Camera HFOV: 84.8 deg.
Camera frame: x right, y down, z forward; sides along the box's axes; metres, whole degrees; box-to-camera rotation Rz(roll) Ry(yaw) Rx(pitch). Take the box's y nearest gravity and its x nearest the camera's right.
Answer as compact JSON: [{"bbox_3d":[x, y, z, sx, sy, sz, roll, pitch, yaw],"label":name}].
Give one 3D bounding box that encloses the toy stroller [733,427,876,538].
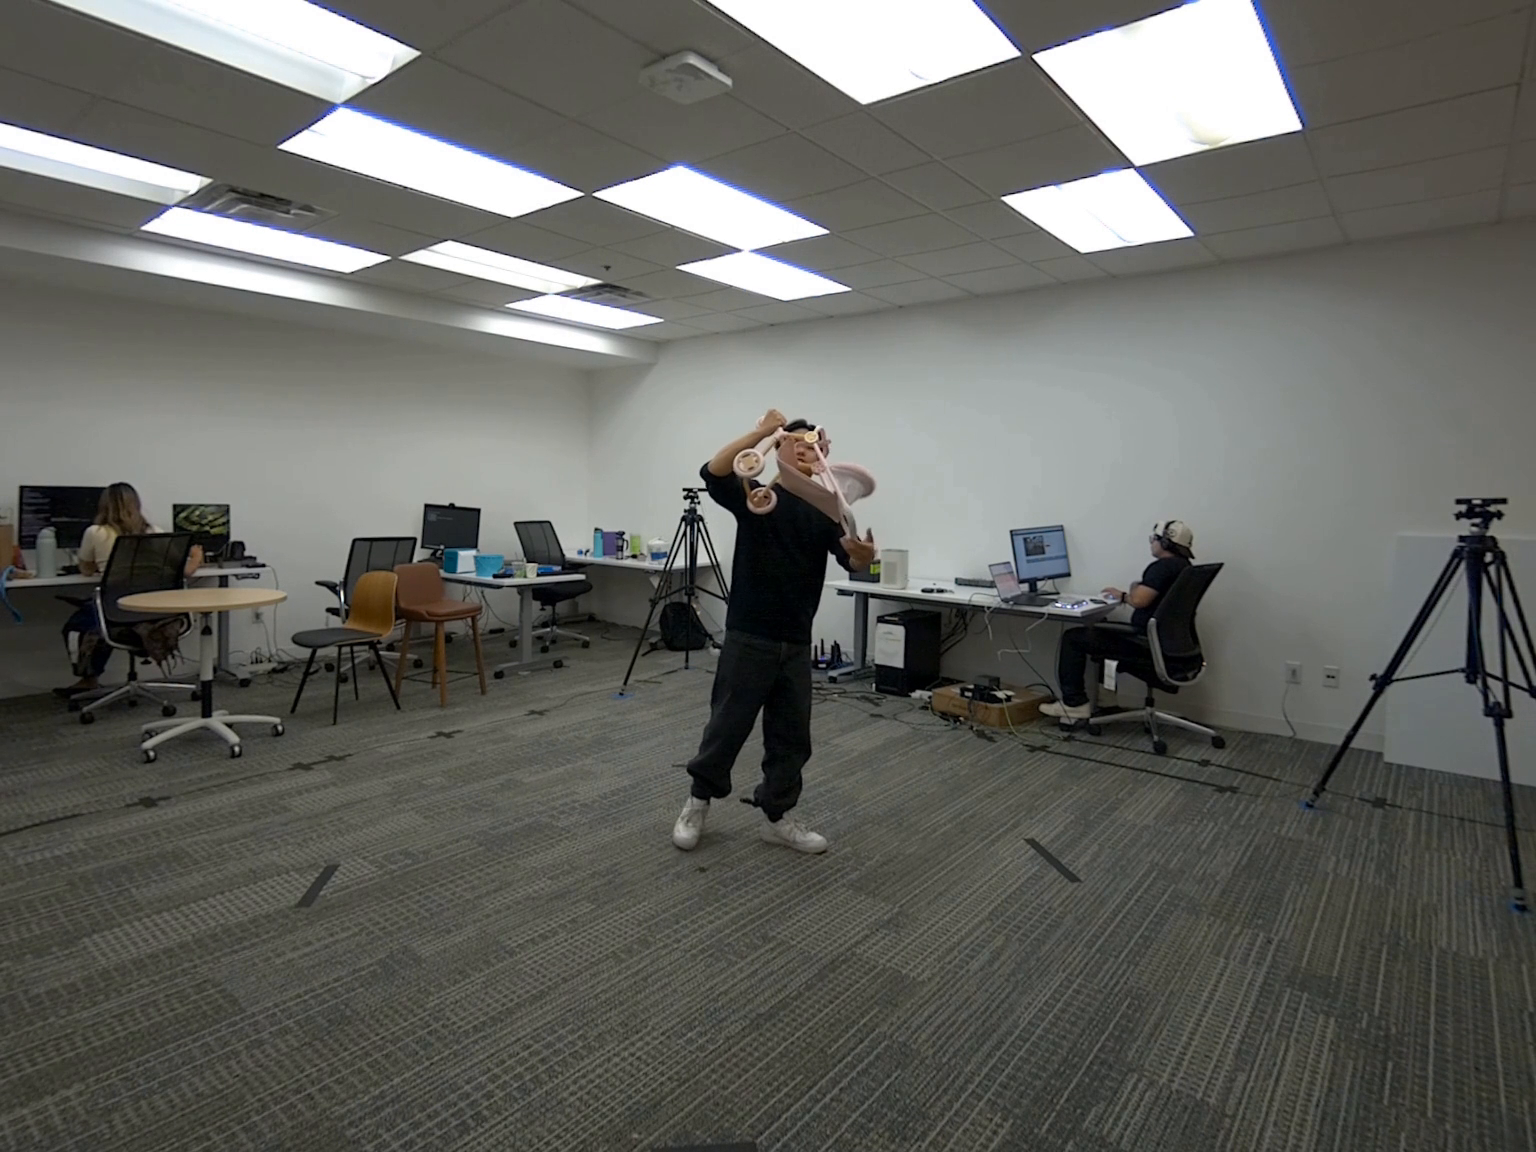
[{"bbox_3d":[0.121,-0.361,2.963,0.551,0.343,0.272,21,-25,23],"label":"toy stroller"}]
